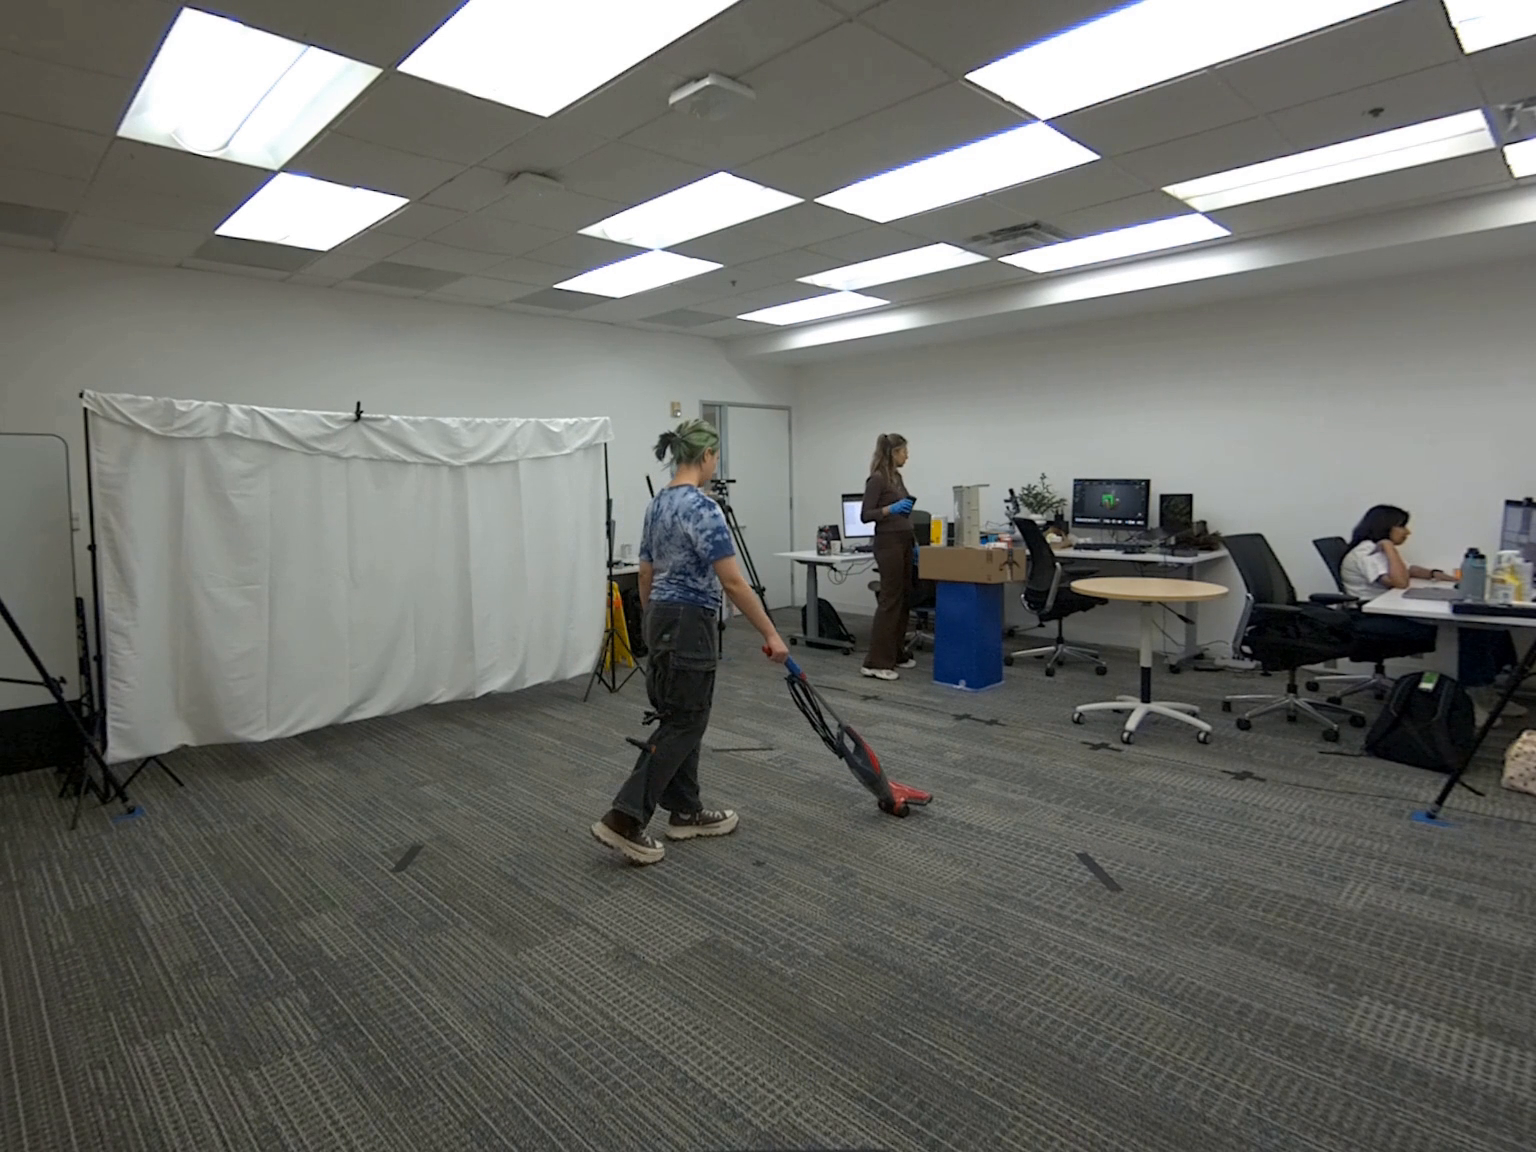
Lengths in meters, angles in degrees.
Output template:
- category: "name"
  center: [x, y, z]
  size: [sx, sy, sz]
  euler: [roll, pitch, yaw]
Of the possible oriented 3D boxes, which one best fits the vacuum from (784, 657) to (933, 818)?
- category: "vacuum"
  center: [0.272, 0.617, 3.352]
  size: [0.260, 0.145, 1.015]
  euler: [-1, -42, 50]
